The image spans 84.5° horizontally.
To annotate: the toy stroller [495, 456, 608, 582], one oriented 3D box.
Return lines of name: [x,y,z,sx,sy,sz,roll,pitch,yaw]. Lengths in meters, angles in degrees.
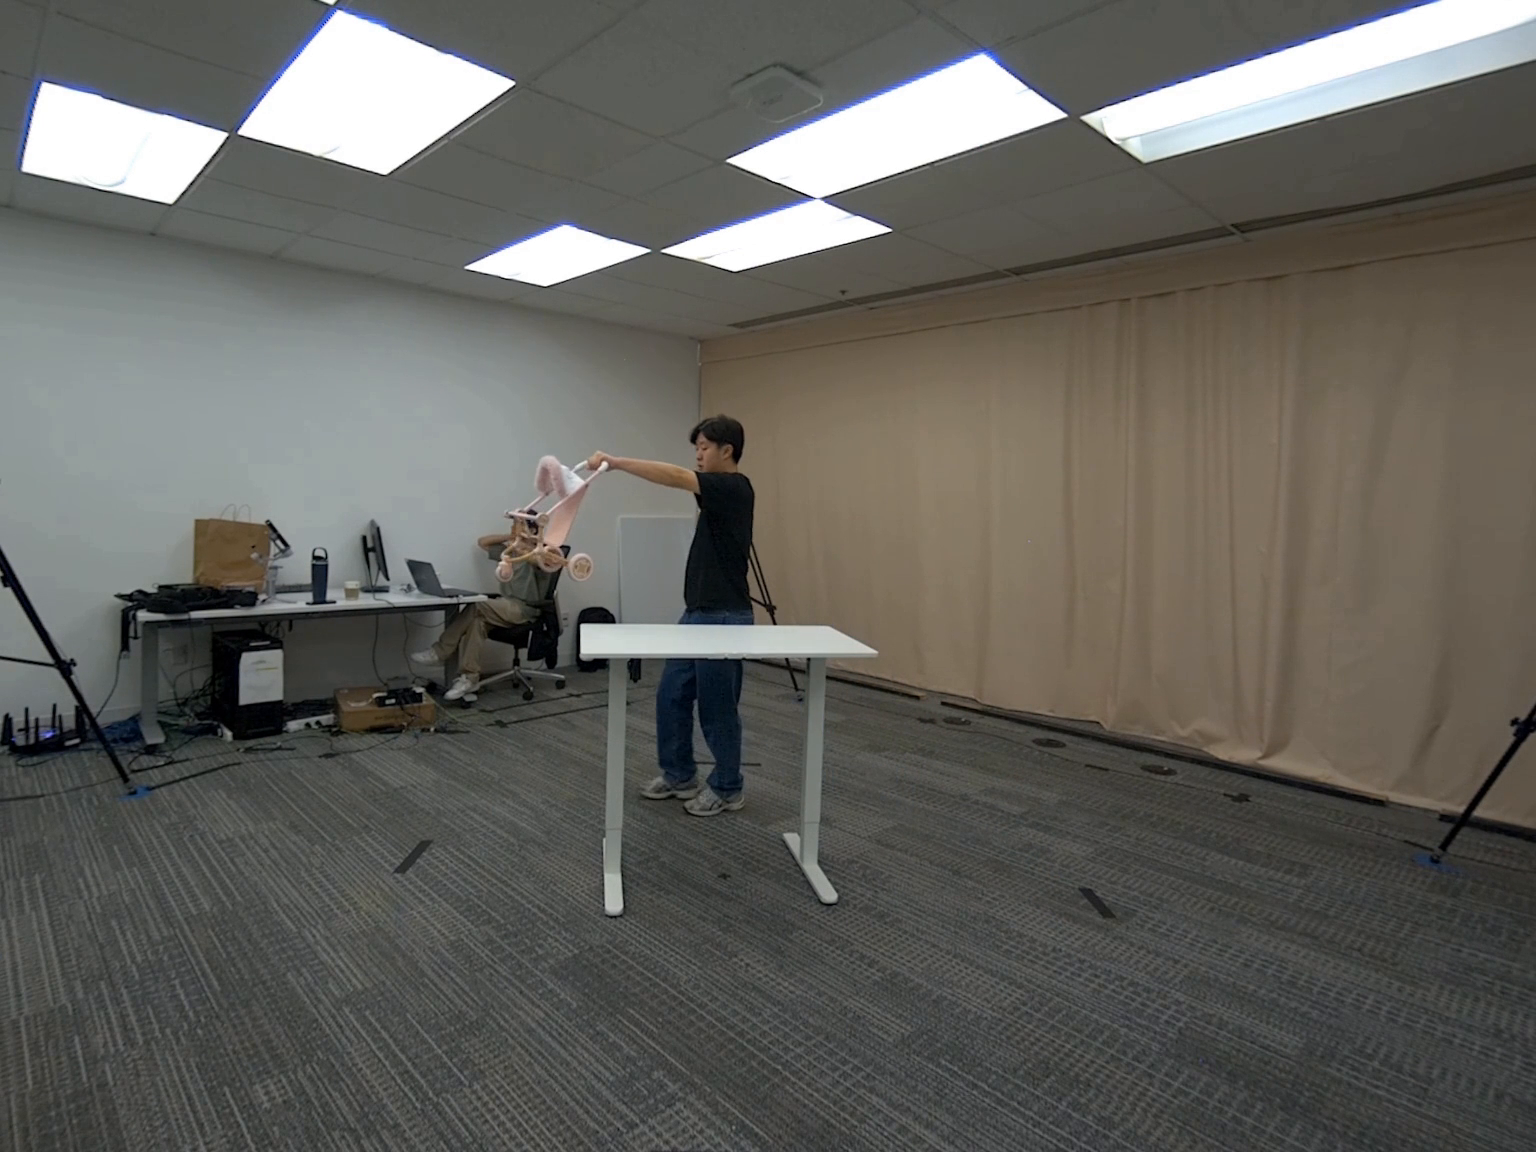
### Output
toy stroller: [-0.846,-0.216,3.235,0.333,0.535,0.289,11,1,-34]
